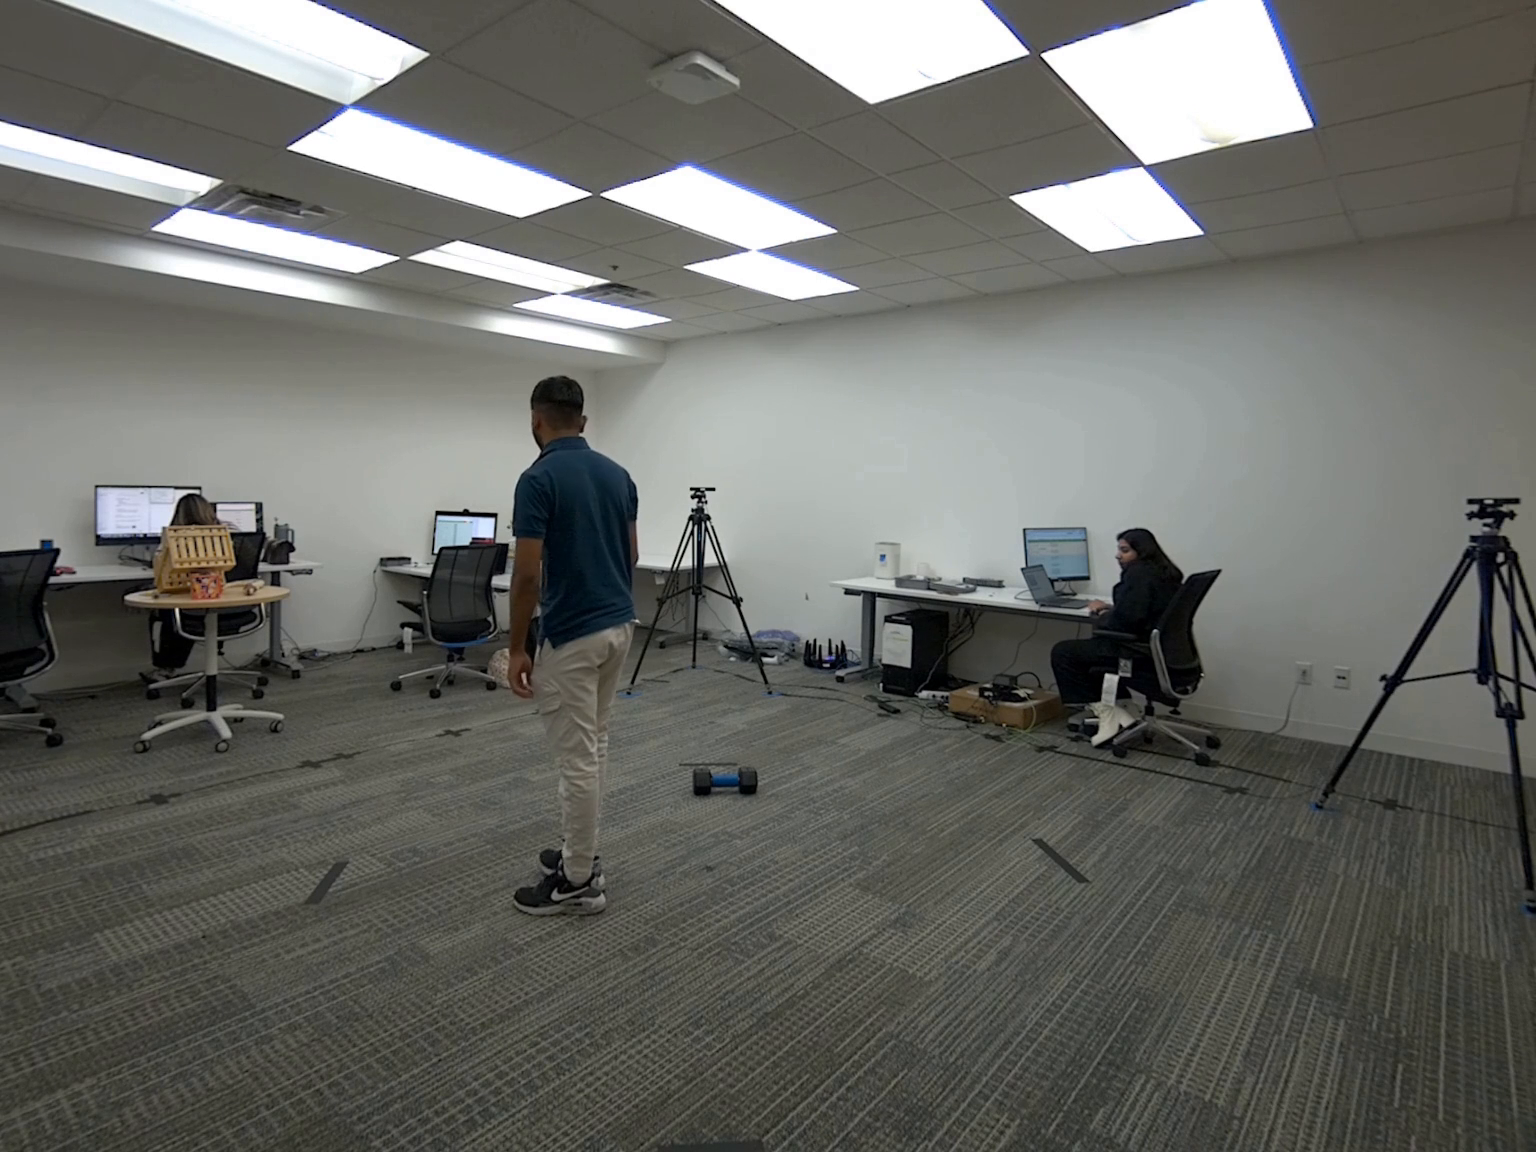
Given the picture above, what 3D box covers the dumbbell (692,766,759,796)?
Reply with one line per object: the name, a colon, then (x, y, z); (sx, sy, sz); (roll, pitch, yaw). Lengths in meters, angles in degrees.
dumbbell: (-0.206, 0.934, 3.901); (0.291, 0.120, 0.112); (0, 36, -7)
